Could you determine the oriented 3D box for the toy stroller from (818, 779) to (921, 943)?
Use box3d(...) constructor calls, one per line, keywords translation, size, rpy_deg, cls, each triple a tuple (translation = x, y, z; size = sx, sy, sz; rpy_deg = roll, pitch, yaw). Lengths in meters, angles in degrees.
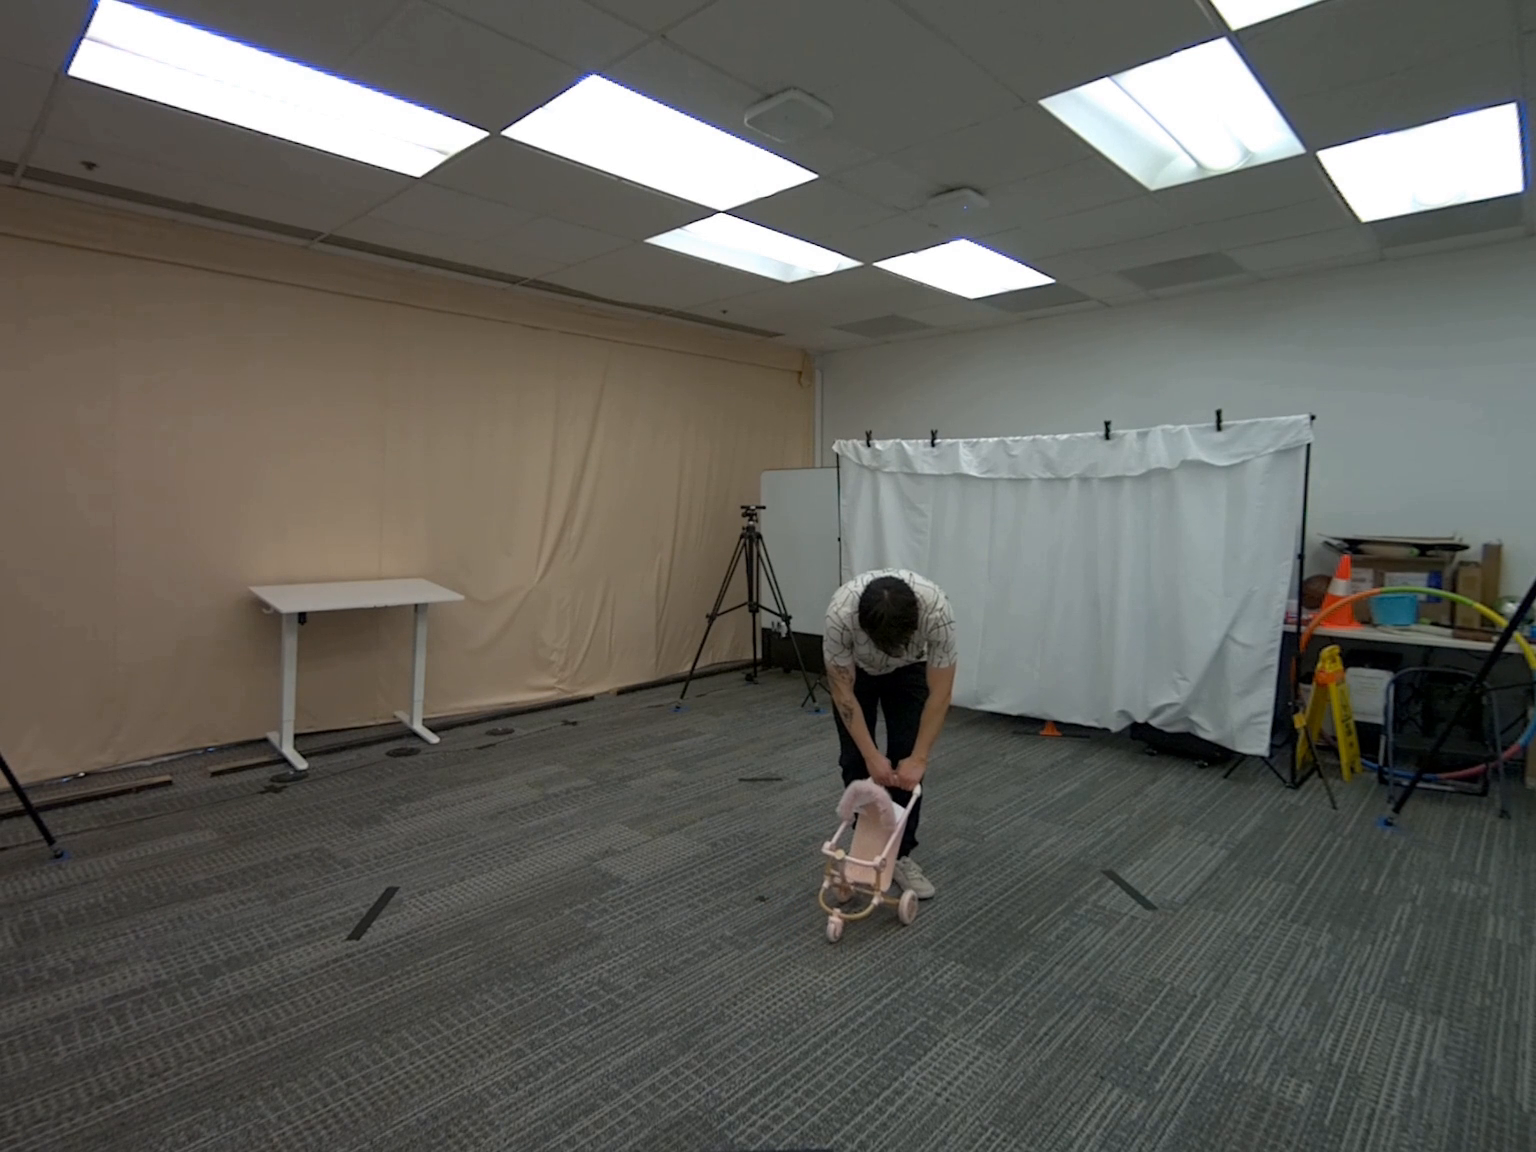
box3d(translation=(0.329, 0.929, 2.824), size=(0.291, 0.537, 0.329), rpy_deg=(2, -11, 41), cls="toy stroller")
